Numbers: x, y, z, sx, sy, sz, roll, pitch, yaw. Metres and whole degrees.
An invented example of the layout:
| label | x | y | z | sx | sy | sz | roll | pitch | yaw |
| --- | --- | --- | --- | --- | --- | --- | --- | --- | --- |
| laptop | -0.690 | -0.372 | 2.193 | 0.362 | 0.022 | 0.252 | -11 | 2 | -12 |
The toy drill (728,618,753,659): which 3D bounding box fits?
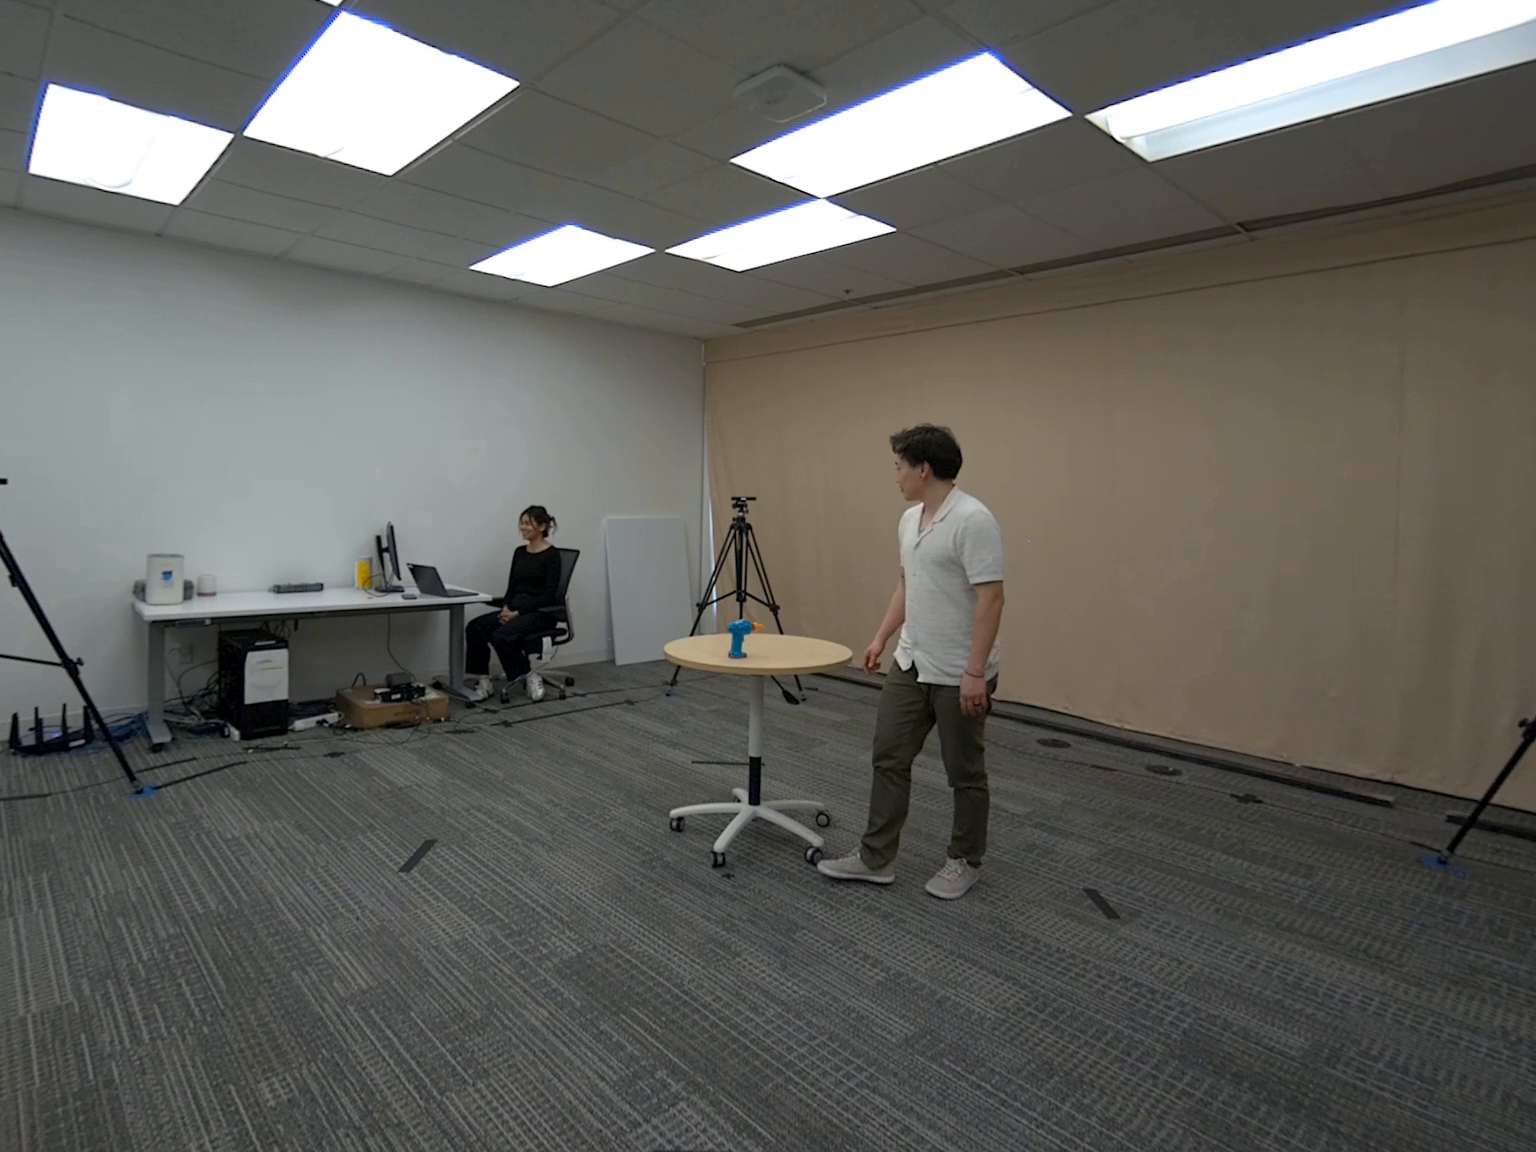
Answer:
| label | x | y | z | sx | sy | sz | roll | pitch | yaw |
| --- | --- | --- | --- | --- | --- | --- | --- | --- | --- |
| toy drill | -0.088 | 0.237 | 3.256 | 0.166 | 0.145 | 0.062 | -2 | 5 | -32 |
